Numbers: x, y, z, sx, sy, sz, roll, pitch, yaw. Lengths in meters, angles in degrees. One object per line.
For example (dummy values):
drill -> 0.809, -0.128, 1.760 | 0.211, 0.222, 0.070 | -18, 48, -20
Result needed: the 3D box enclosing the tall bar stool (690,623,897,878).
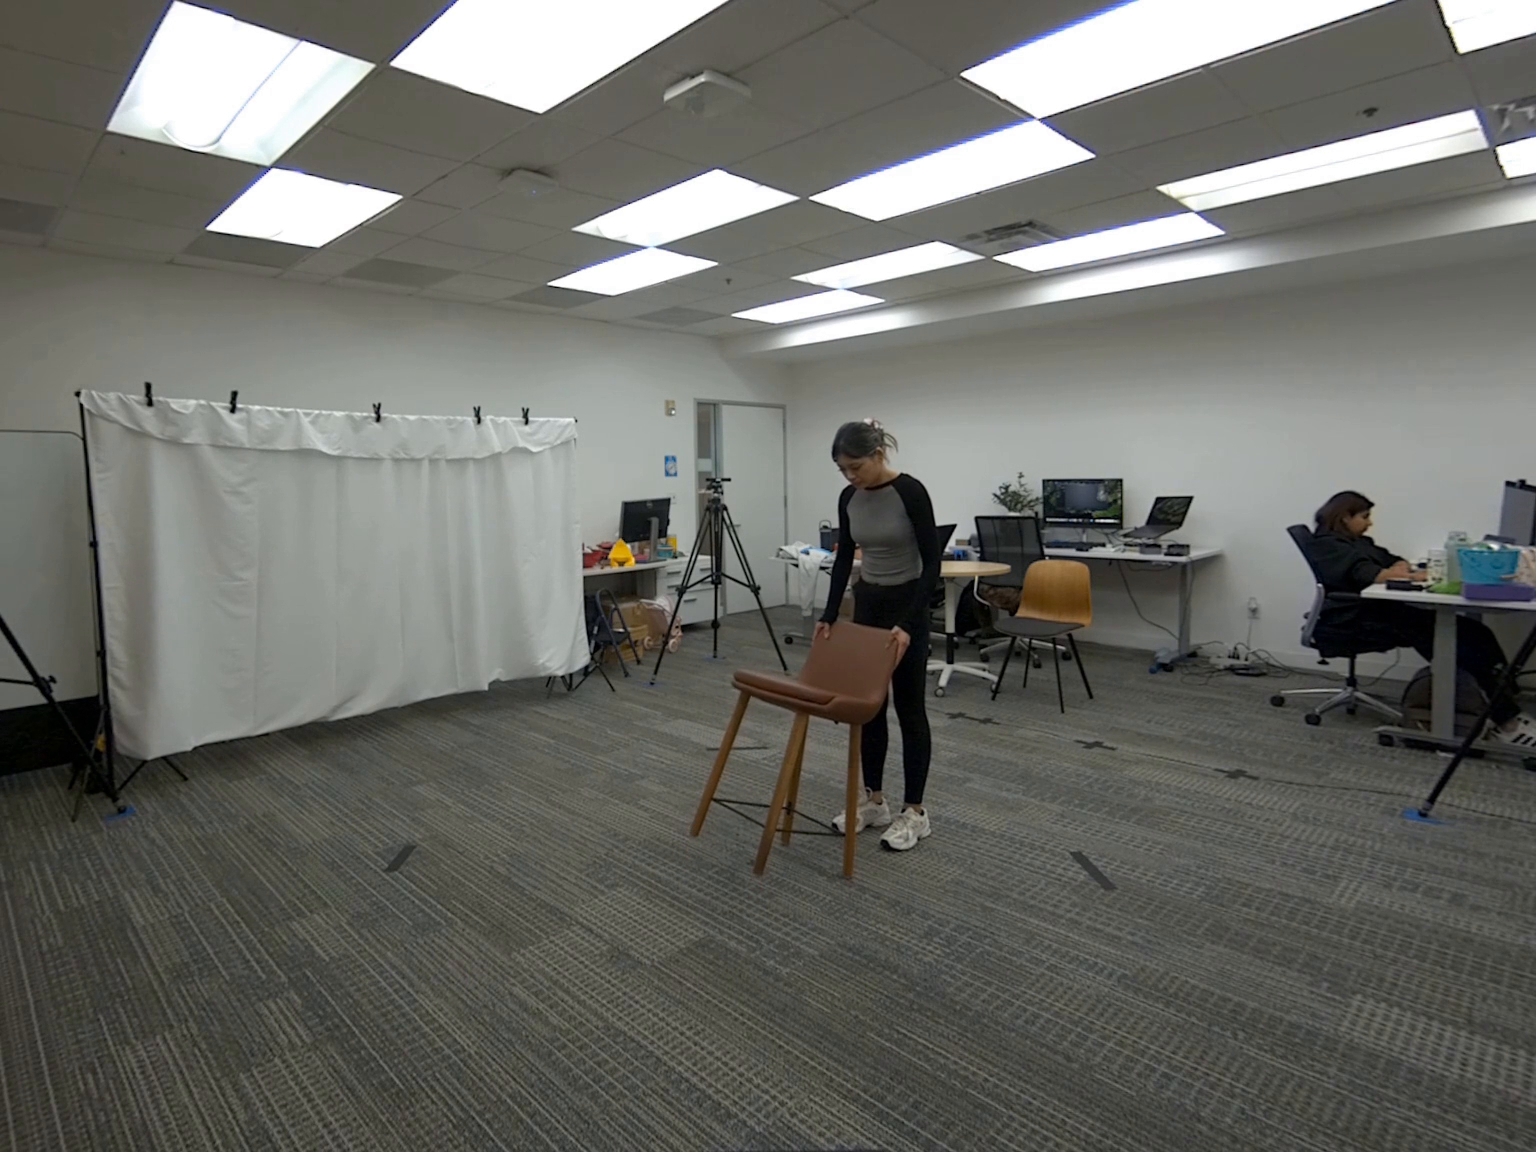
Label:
tall bar stool -> 0.118, 0.567, 3.054 | 0.452, 0.894, 0.470 | 20, -9, -35
